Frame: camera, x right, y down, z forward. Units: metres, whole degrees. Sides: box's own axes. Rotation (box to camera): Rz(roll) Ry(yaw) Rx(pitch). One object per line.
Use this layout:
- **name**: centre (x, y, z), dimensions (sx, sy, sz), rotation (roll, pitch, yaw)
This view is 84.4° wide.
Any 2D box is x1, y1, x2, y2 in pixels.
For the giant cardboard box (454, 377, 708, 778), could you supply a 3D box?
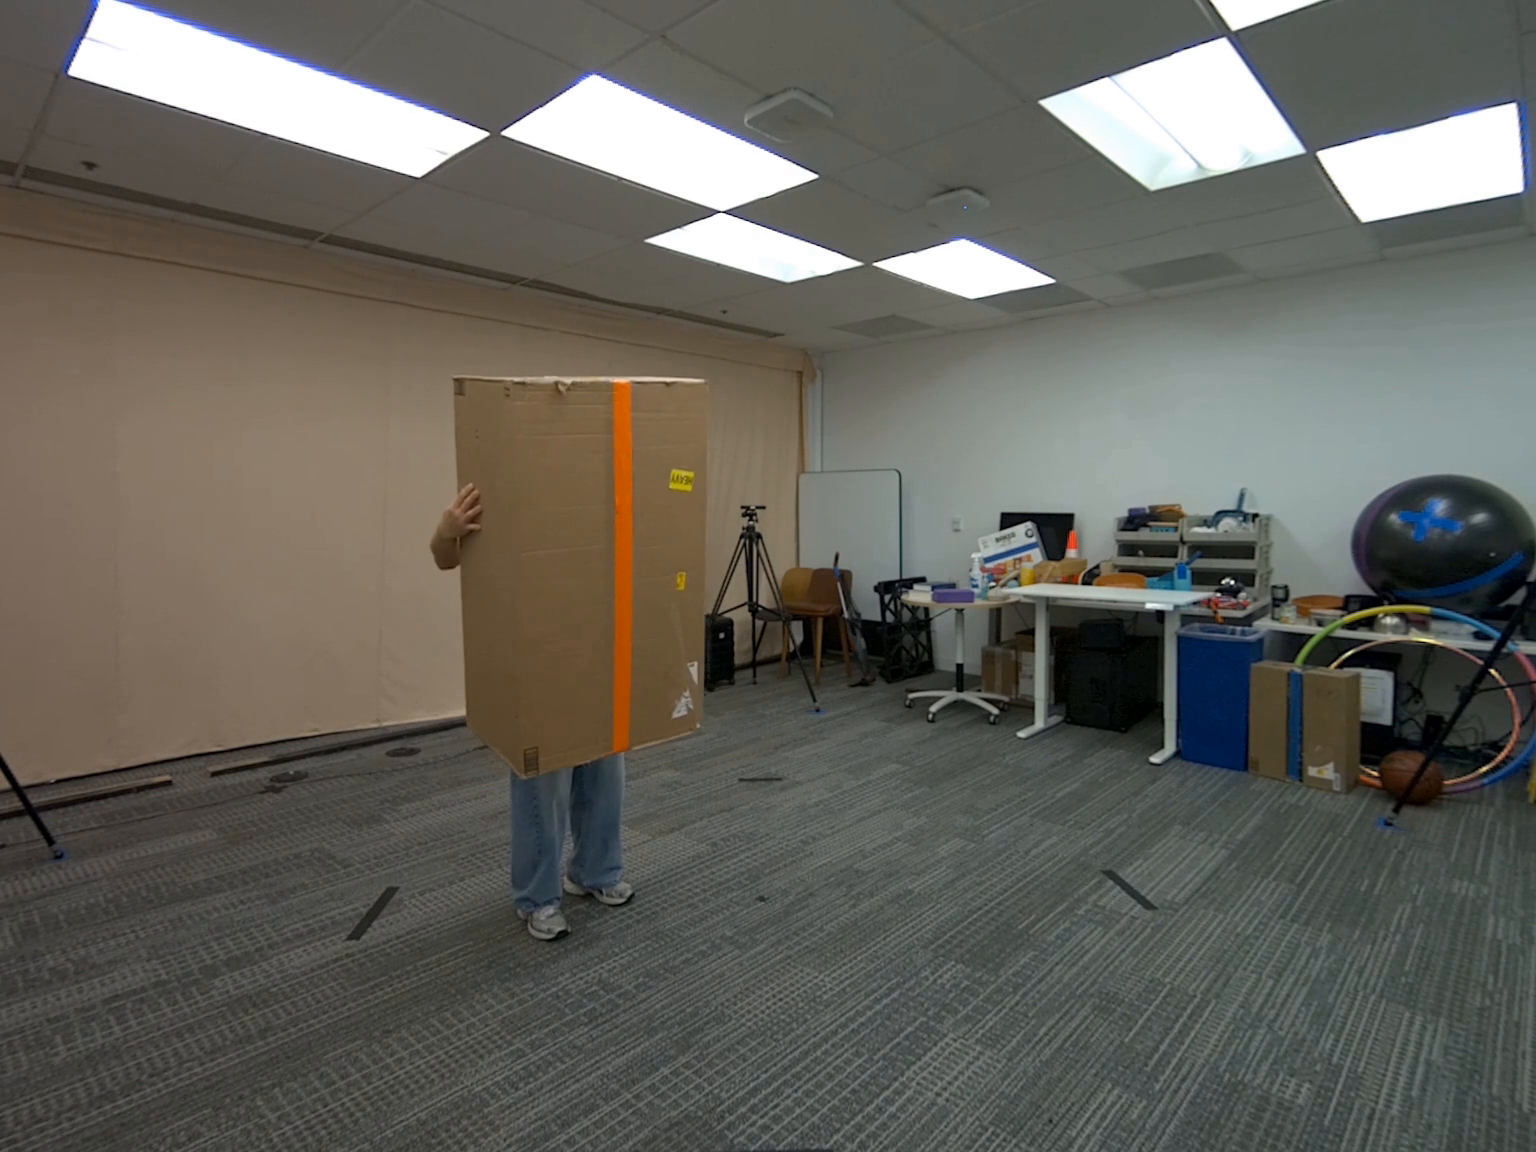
- **giant cardboard box**: centre (-0.523, -0.042, 2.397), dimensions (0.561, 1.018, 0.441), rotation (-7, 15, -37)
